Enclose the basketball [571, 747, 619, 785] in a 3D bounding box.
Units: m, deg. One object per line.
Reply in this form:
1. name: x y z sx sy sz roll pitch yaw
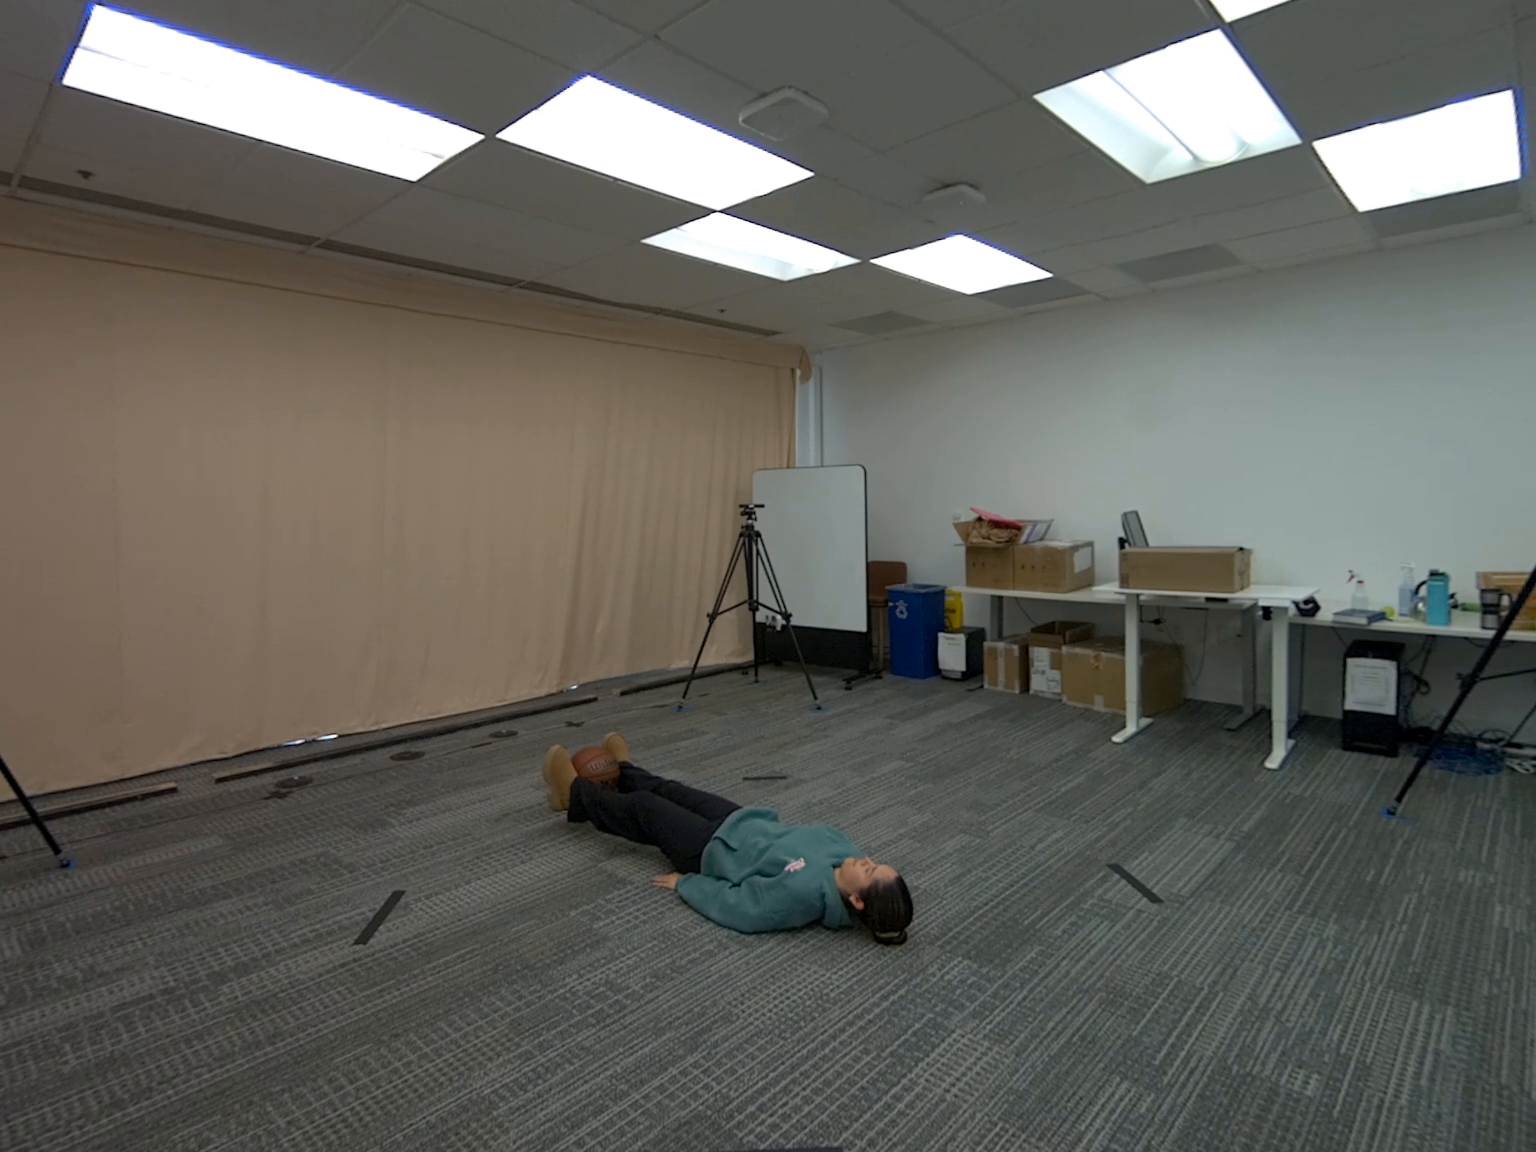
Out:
1. basketball: -0.774 0.870 3.714 0.236 0.235 0.237 0 4 -2
